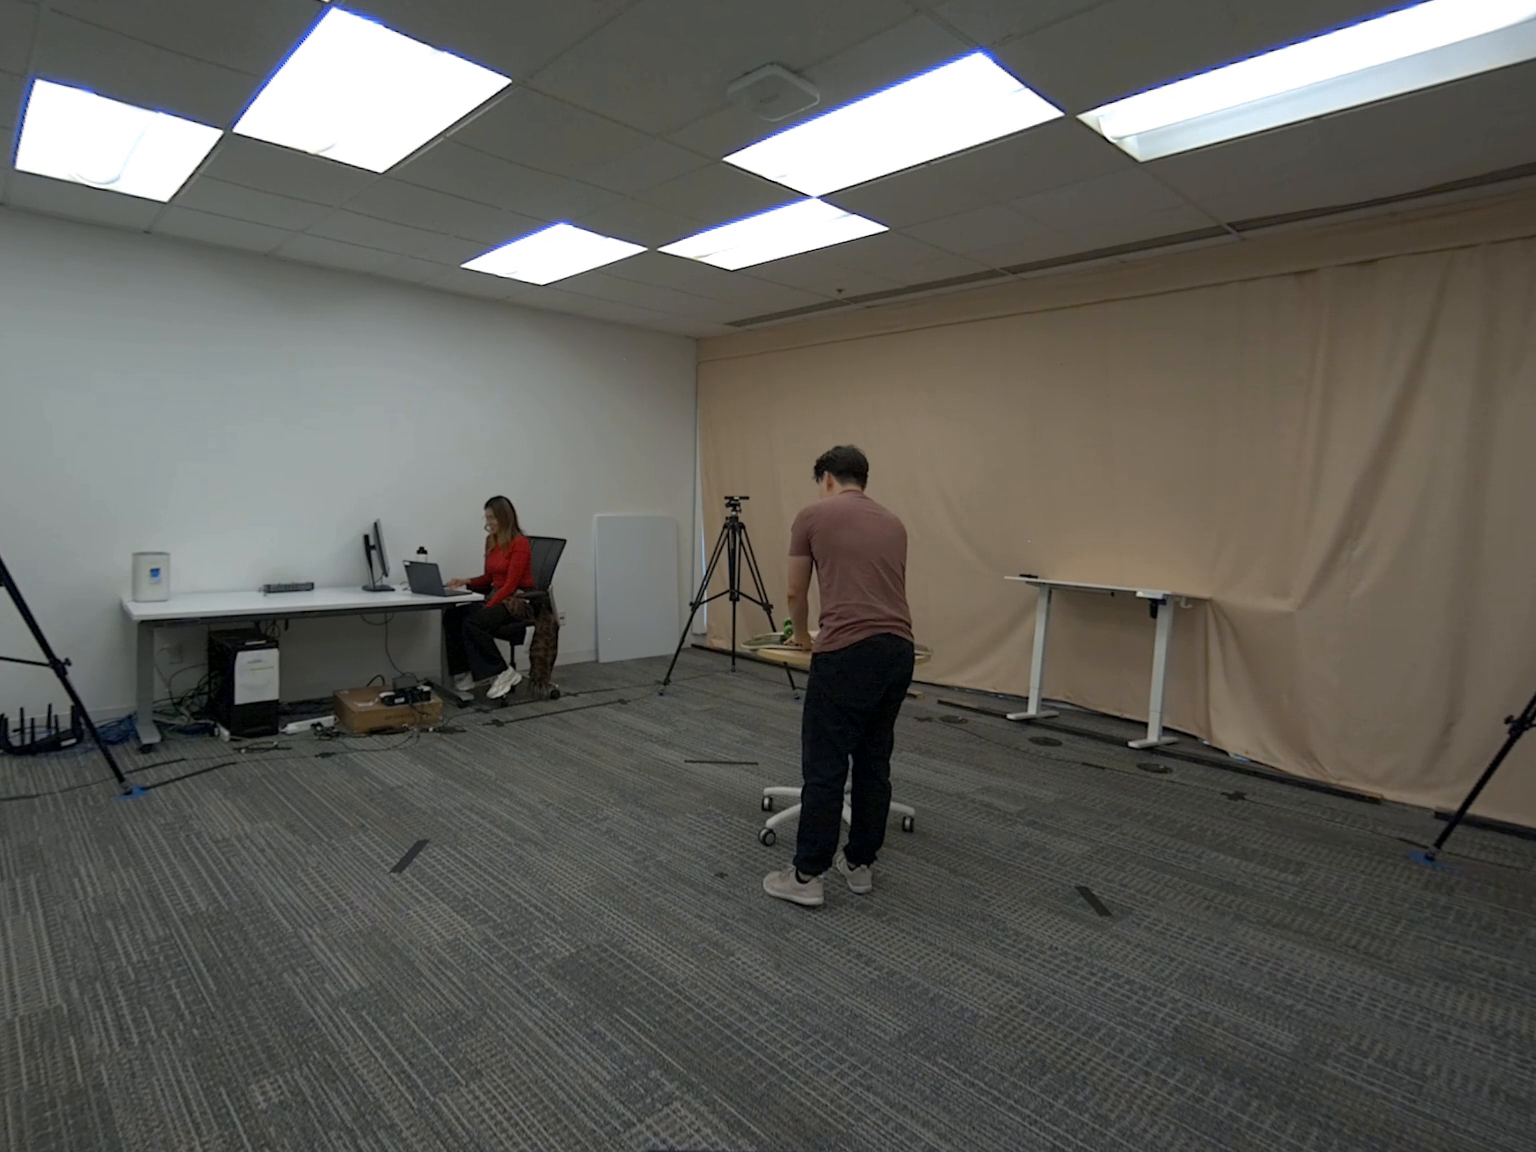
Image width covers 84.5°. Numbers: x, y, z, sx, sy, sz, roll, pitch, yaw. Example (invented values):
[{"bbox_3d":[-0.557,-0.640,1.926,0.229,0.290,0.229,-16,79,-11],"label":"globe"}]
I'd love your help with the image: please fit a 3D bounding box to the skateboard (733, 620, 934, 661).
[{"bbox_3d":[0.254,0.257,3.445,0.785,0.110,0.194,2,5,0],"label":"skateboard"}]
